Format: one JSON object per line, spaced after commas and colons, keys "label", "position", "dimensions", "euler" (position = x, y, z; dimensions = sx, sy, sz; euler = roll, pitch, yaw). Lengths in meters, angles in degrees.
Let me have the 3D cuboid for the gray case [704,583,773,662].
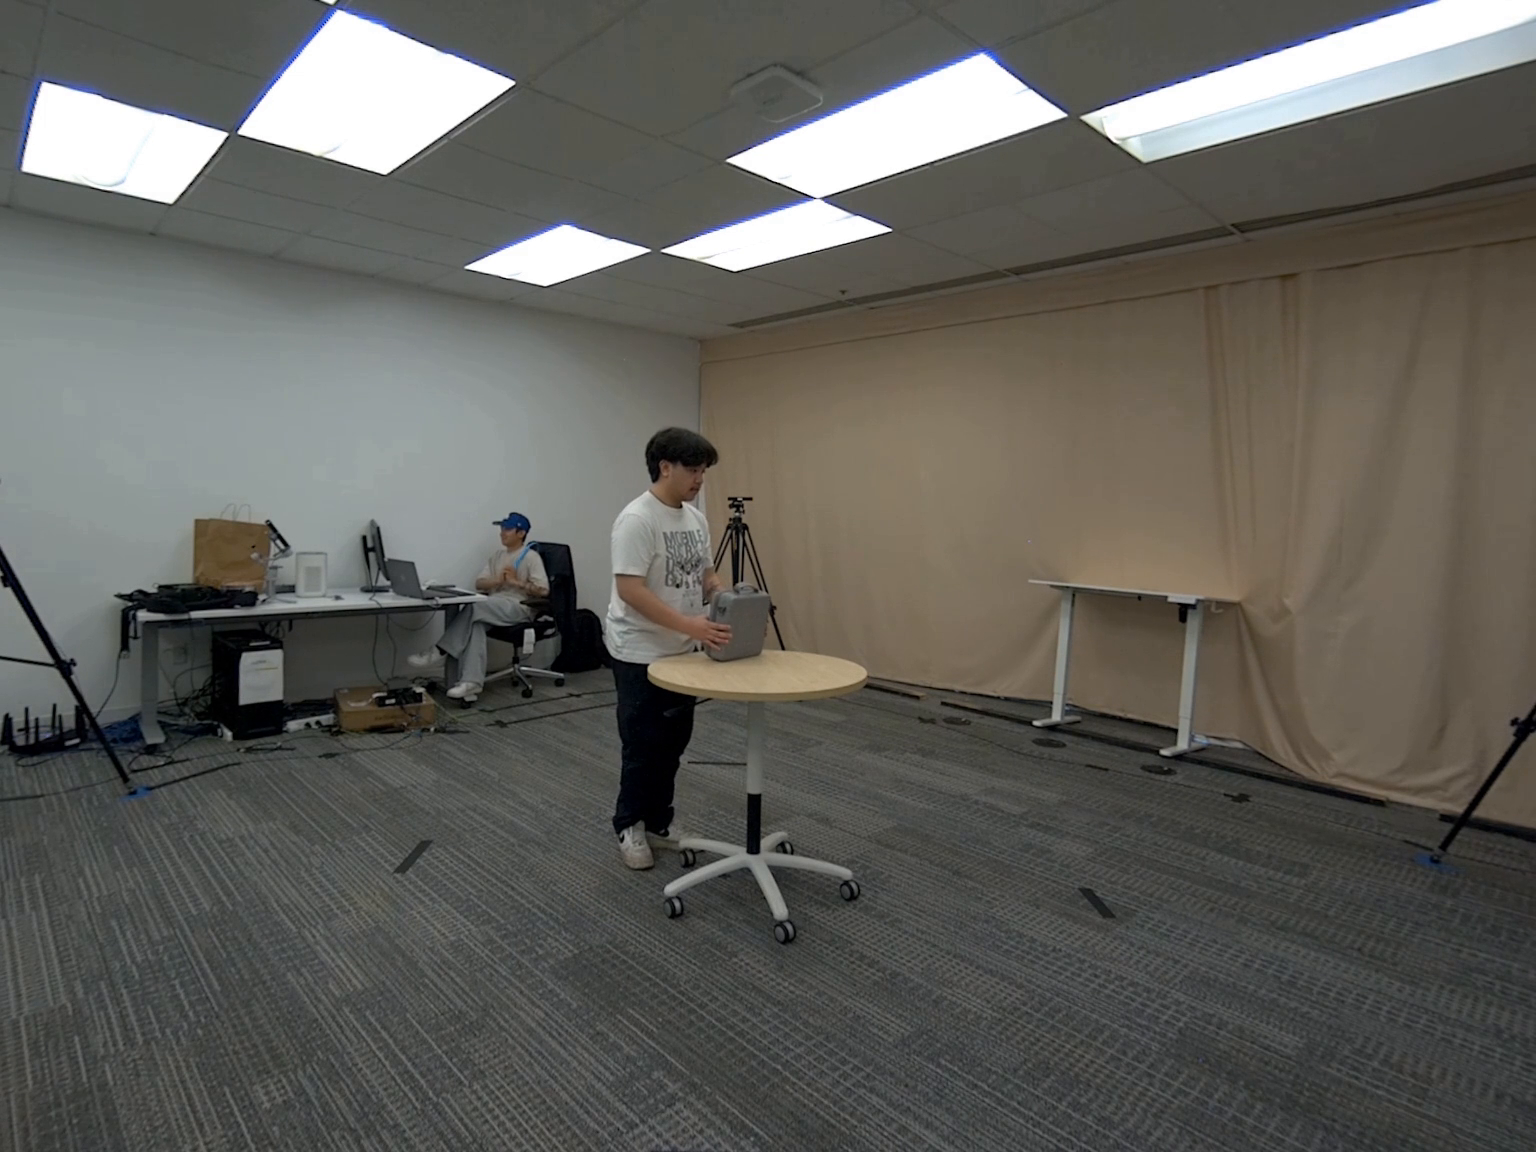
{"label": "gray case", "position": [-0.120, 0.173, 3.136], "dimensions": [0.107, 0.259, 0.251], "euler": [17, 13, 39]}
